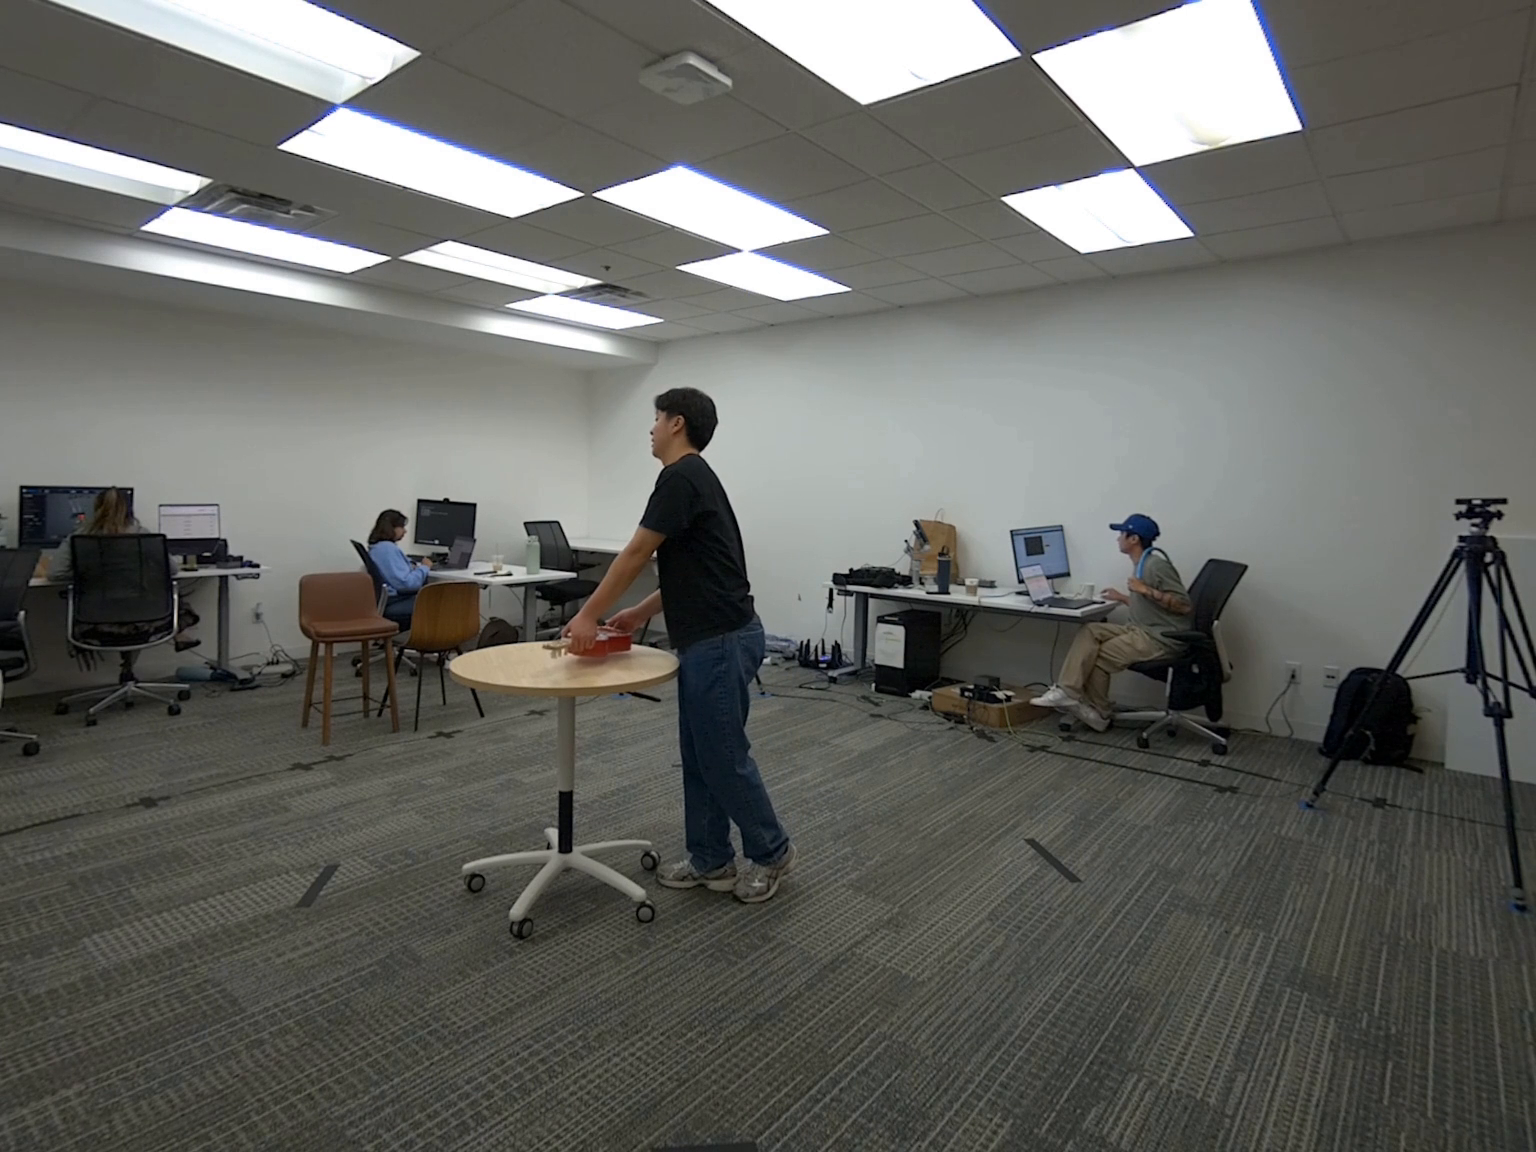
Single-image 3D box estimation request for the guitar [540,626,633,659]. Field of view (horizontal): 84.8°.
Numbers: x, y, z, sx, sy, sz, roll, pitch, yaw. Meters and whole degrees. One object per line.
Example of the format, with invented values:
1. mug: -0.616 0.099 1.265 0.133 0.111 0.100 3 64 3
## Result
1. guitar: -0.660 0.227 2.871 0.198 0.070 0.486 9 5 23
